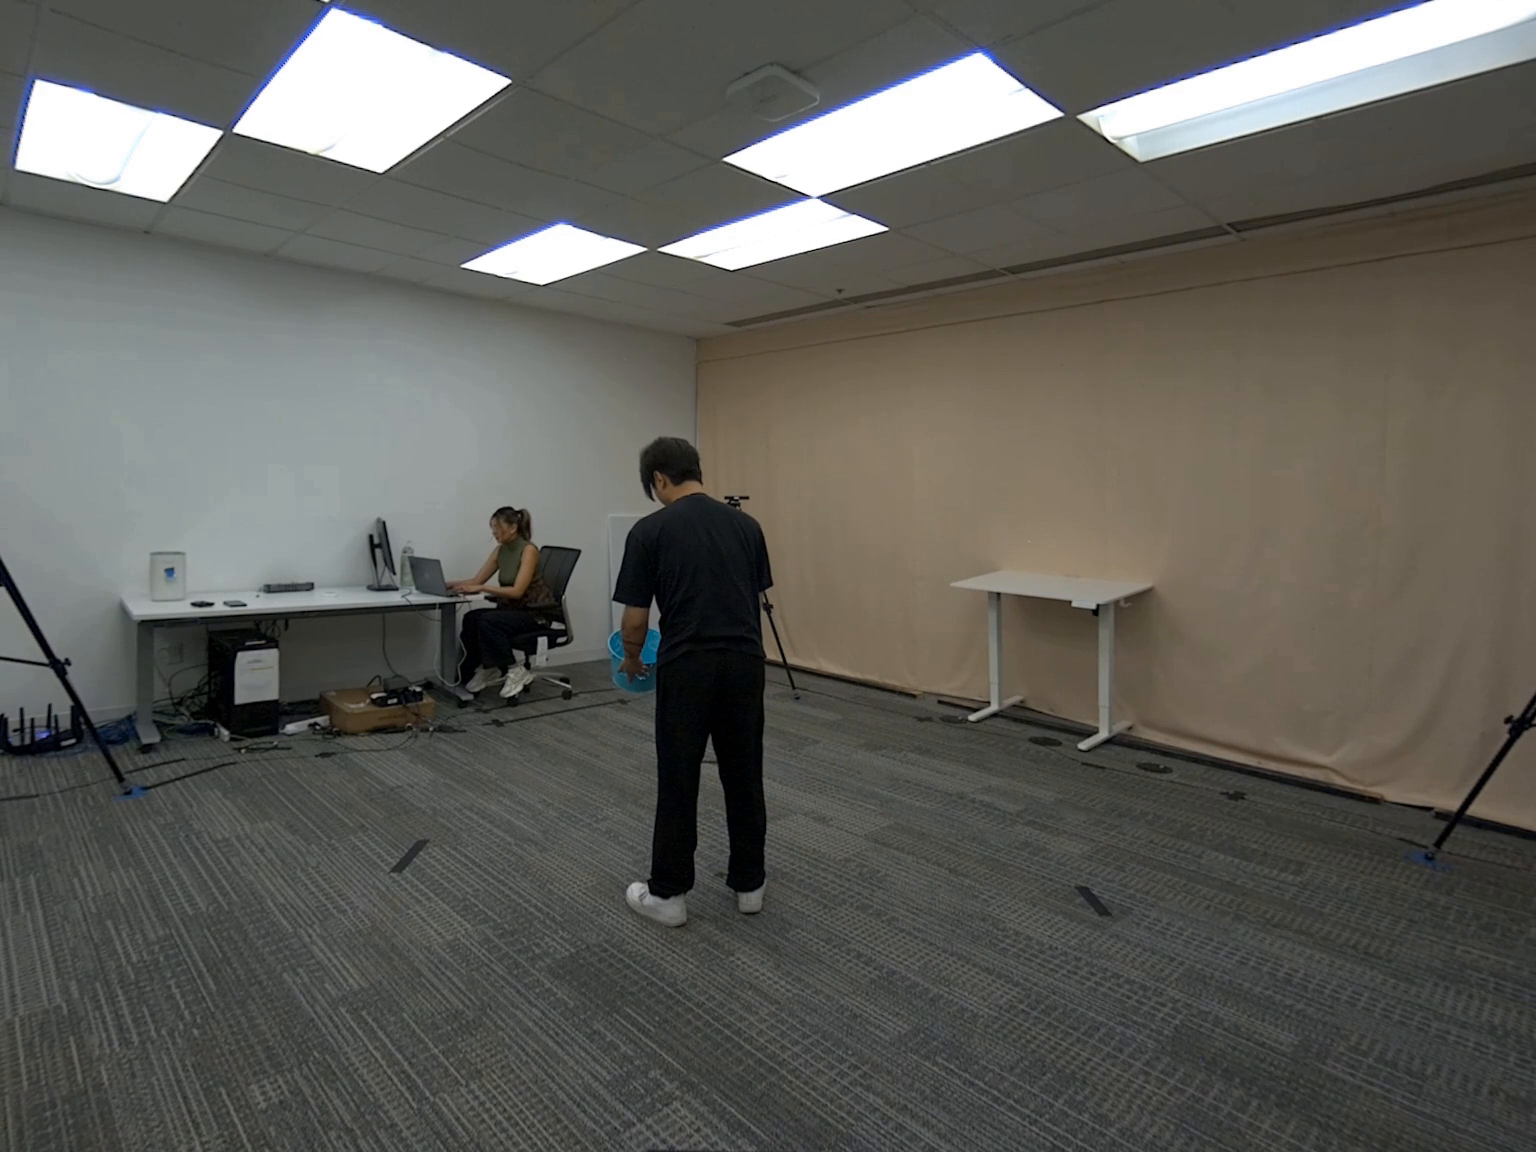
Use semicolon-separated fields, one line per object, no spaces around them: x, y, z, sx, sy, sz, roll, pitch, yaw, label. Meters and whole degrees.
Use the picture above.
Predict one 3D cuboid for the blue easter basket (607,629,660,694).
-0.490;0.316;3.117;0.242;0.153;0.248;7;28;-5;blue easter basket
